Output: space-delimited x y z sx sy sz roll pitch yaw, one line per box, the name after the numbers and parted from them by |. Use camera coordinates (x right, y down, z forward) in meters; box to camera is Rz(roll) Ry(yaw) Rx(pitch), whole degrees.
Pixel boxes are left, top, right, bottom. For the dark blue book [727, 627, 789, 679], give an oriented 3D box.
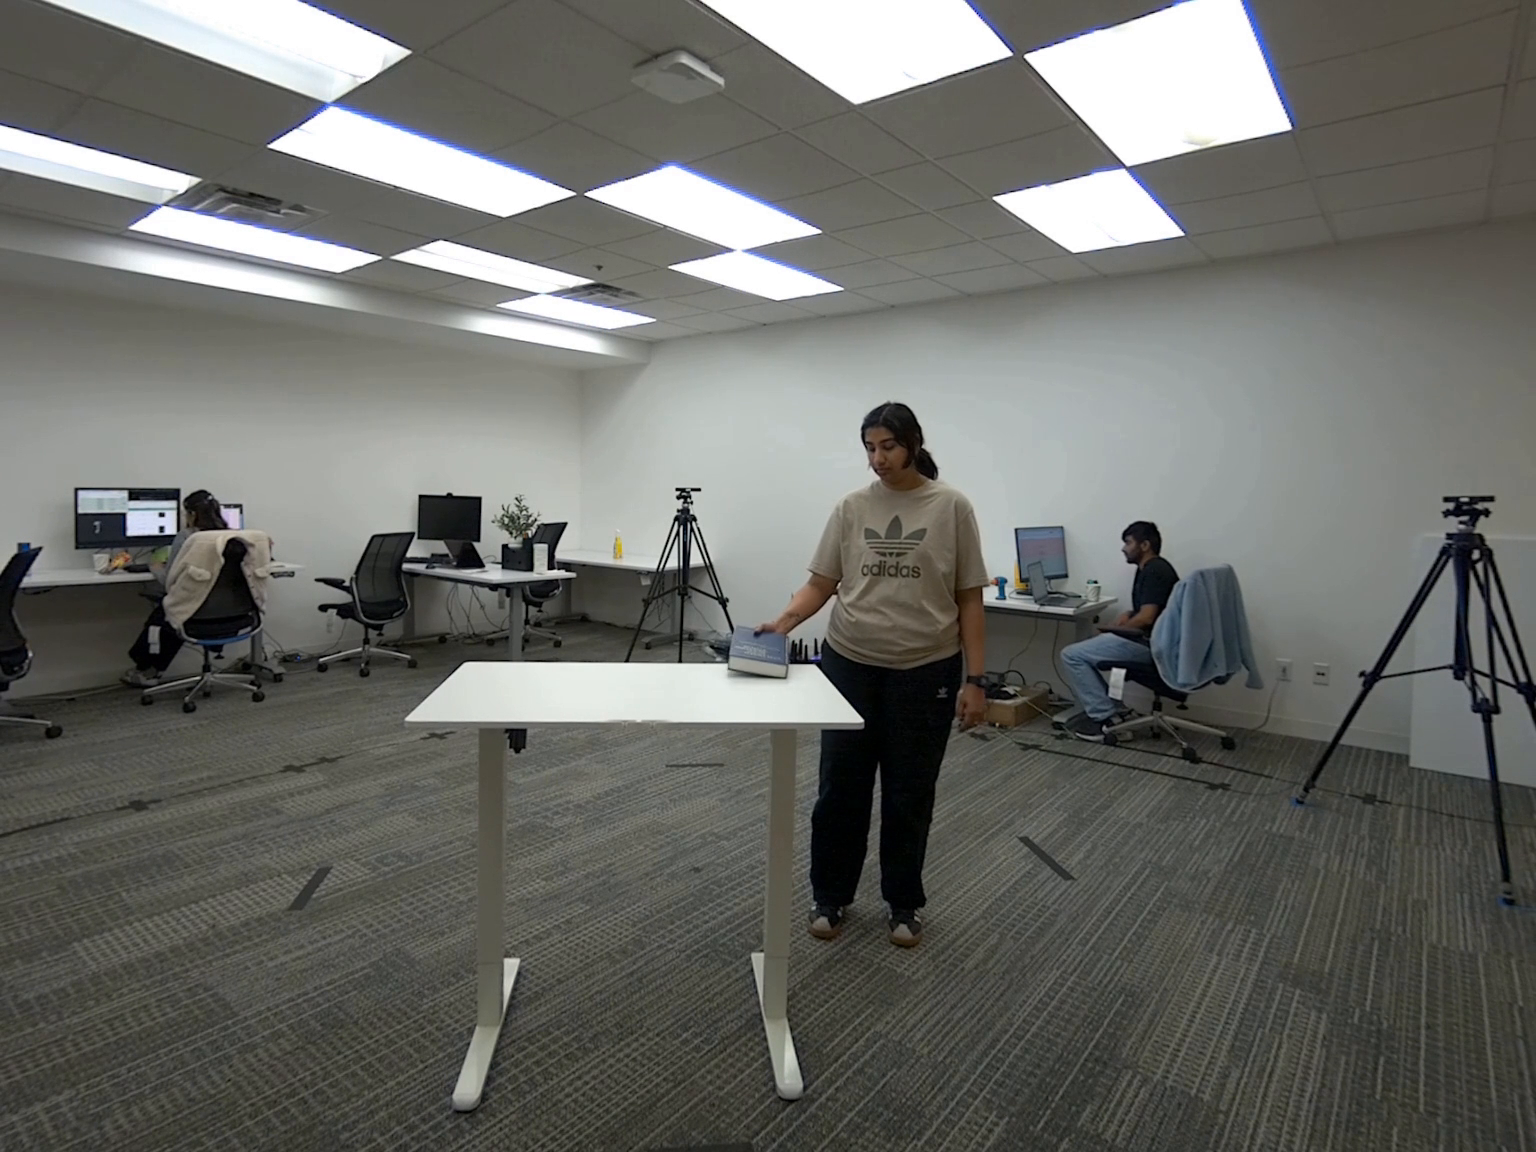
-0.028 0.215 2.397 0.164 0.045 0.247 9 15 2 | dark blue book
